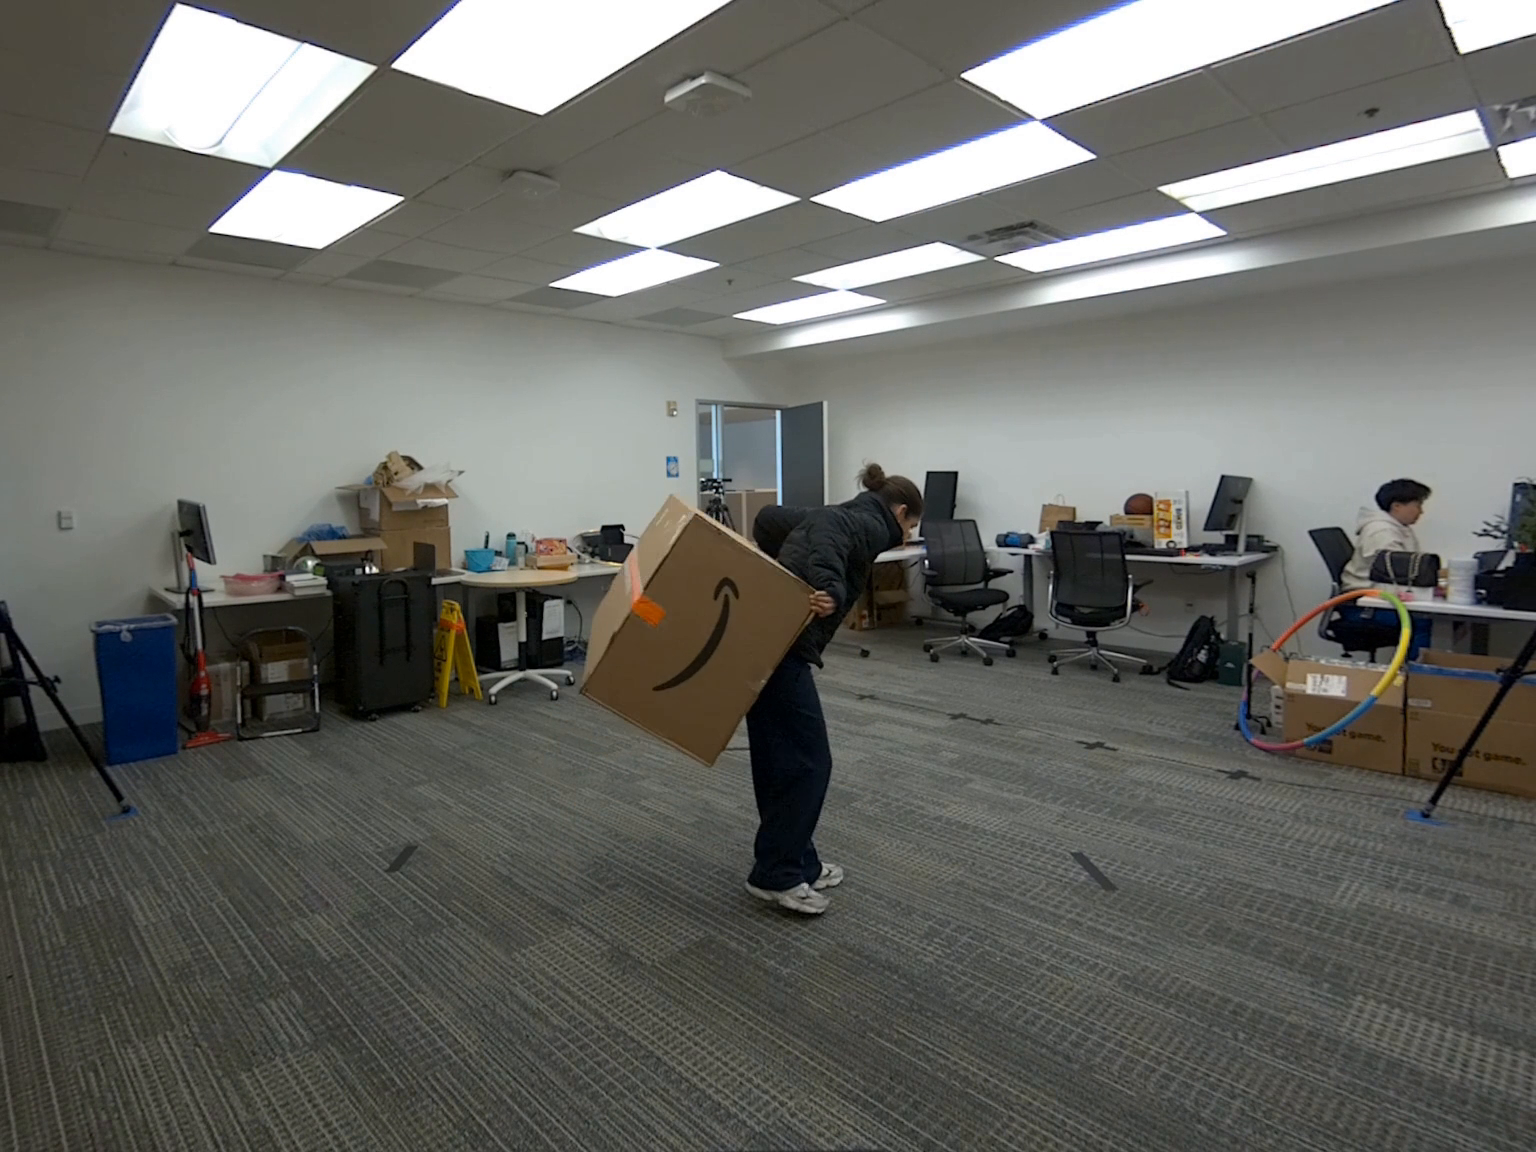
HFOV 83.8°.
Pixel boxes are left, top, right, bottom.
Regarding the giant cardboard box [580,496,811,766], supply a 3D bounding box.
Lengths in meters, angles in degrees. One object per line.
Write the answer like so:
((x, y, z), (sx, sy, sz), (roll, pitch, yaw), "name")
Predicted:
((-0.273, 0.103, 2.825), (0.420, 0.577, 1.040), (34, 1, -12), "giant cardboard box")
